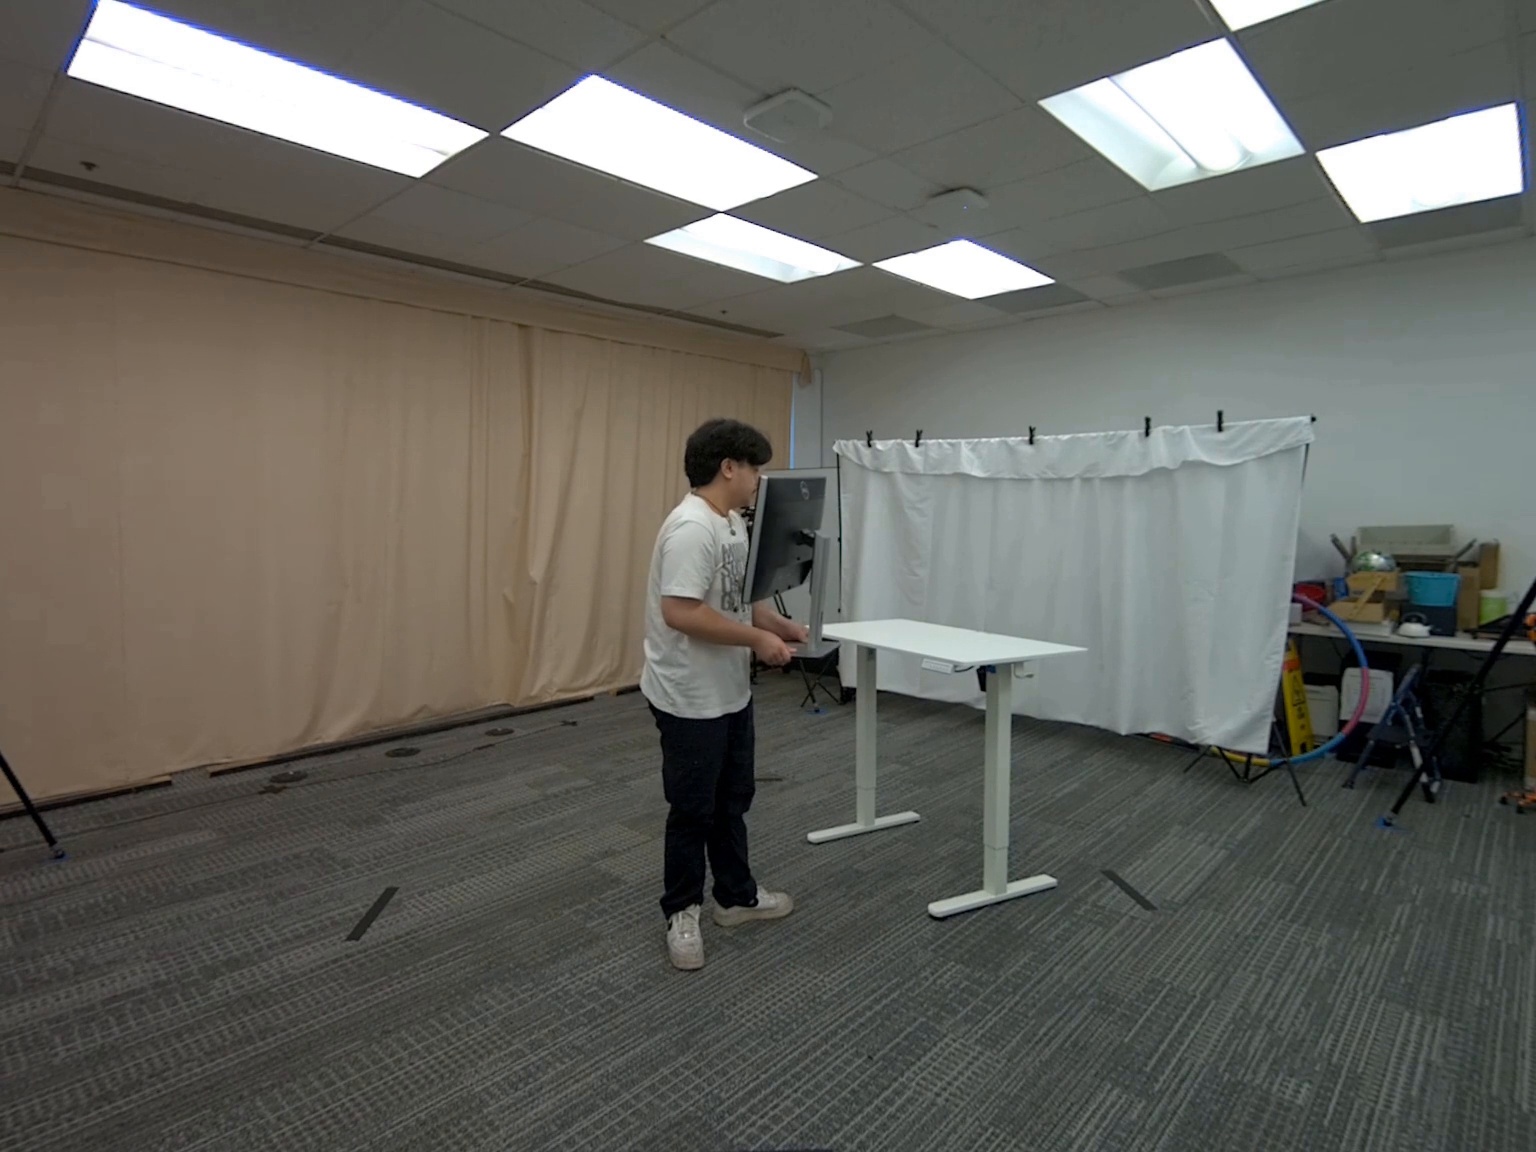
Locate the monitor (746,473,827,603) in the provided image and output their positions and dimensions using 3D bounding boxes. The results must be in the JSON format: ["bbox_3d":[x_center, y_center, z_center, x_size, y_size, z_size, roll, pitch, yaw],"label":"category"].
[{"bbox_3d":[0.125,-0.034,2.560,0.215,0.552,0.554,7,8,21],"label":"monitor"}]
